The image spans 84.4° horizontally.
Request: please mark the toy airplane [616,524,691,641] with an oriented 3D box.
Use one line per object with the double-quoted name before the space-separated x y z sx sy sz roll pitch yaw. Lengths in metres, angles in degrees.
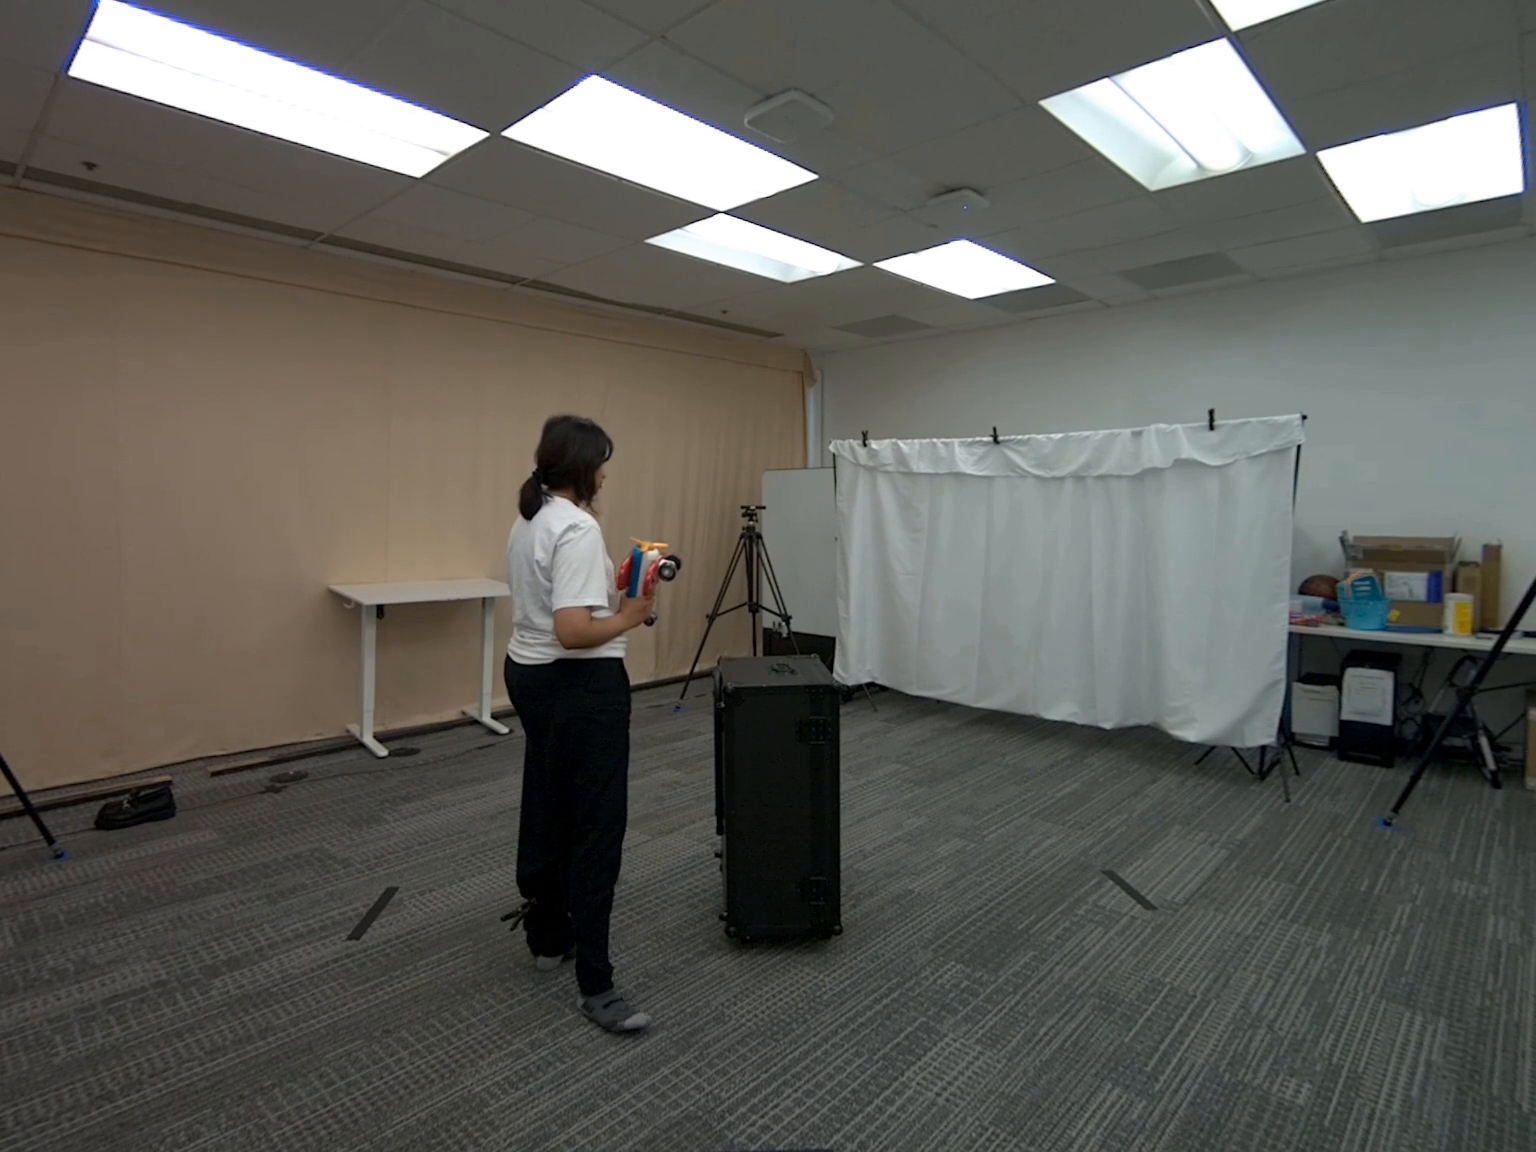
"toy airplane" -0.364 0.024 2.492 0.156 0.259 0.251 27 -12 -1
